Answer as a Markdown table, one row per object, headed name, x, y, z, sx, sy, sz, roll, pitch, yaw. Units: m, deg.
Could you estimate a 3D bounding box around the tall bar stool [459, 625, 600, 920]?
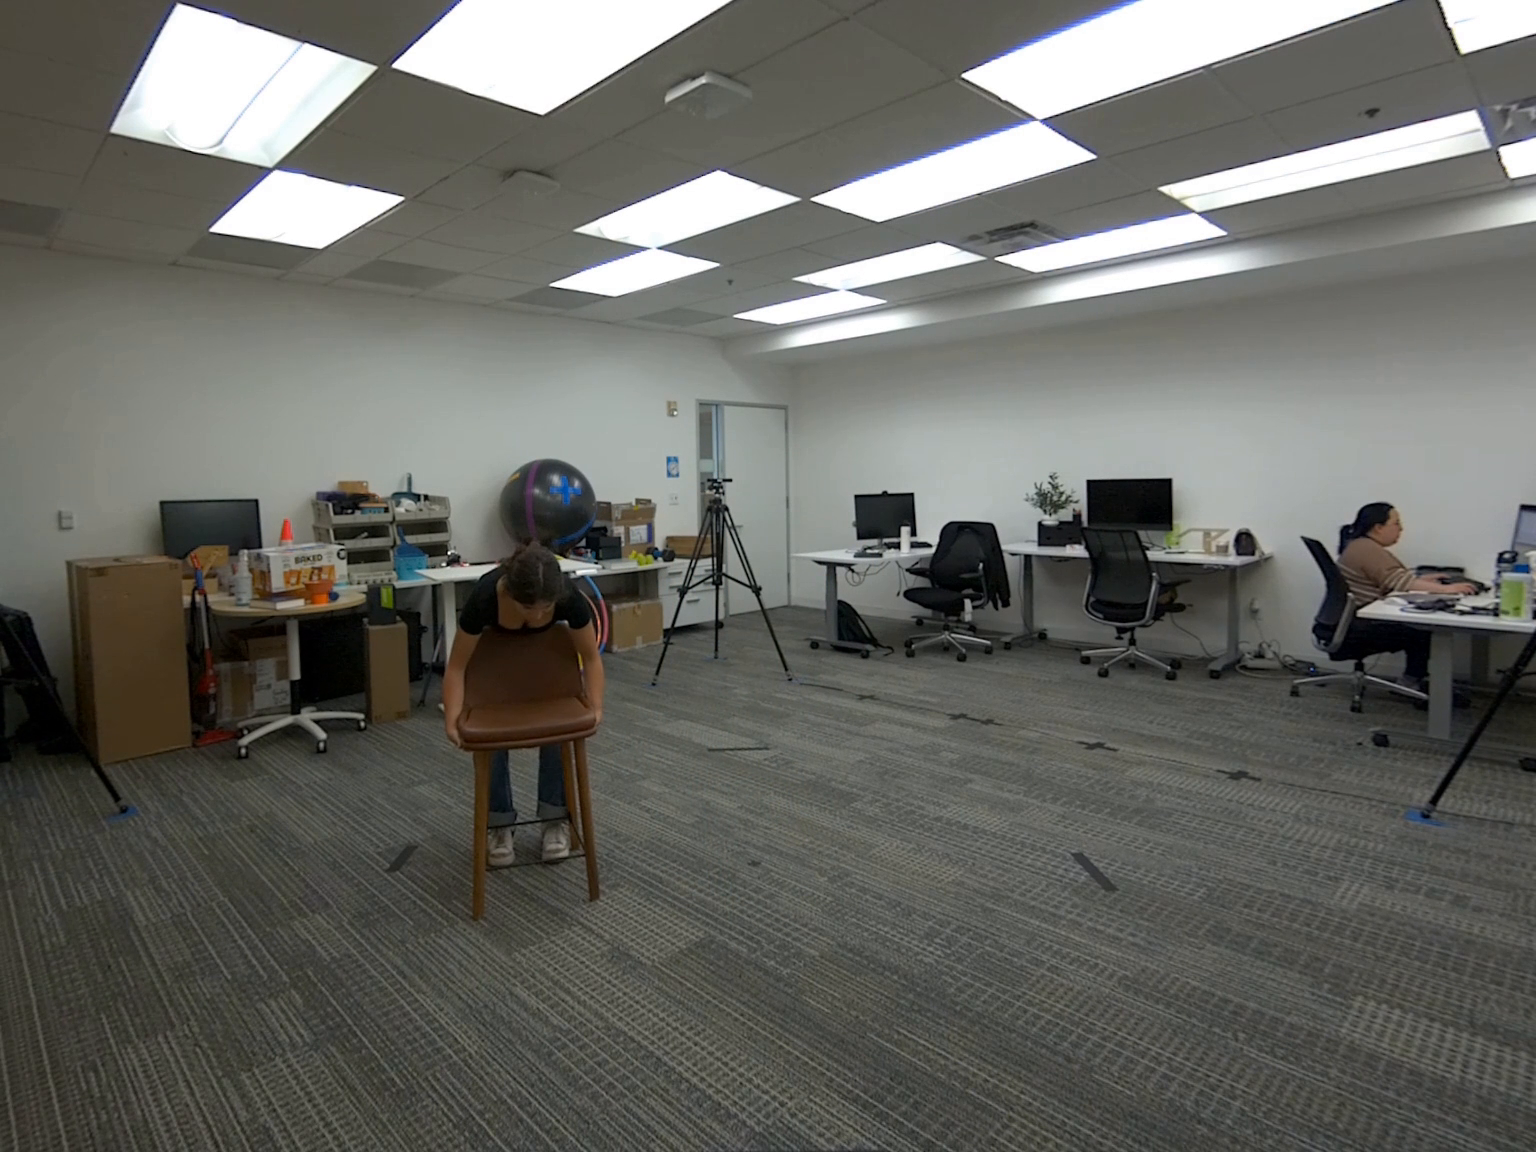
| name | x | y | z | sx | sy | sz | roll | pitch | yaw |
| --- | --- | --- | --- | --- | --- | --- | --- | --- | --- |
| tall bar stool | -0.841 | 0.641 | 2.985 | 0.449 | 0.888 | 0.476 | -2 | 2 | -17 |
